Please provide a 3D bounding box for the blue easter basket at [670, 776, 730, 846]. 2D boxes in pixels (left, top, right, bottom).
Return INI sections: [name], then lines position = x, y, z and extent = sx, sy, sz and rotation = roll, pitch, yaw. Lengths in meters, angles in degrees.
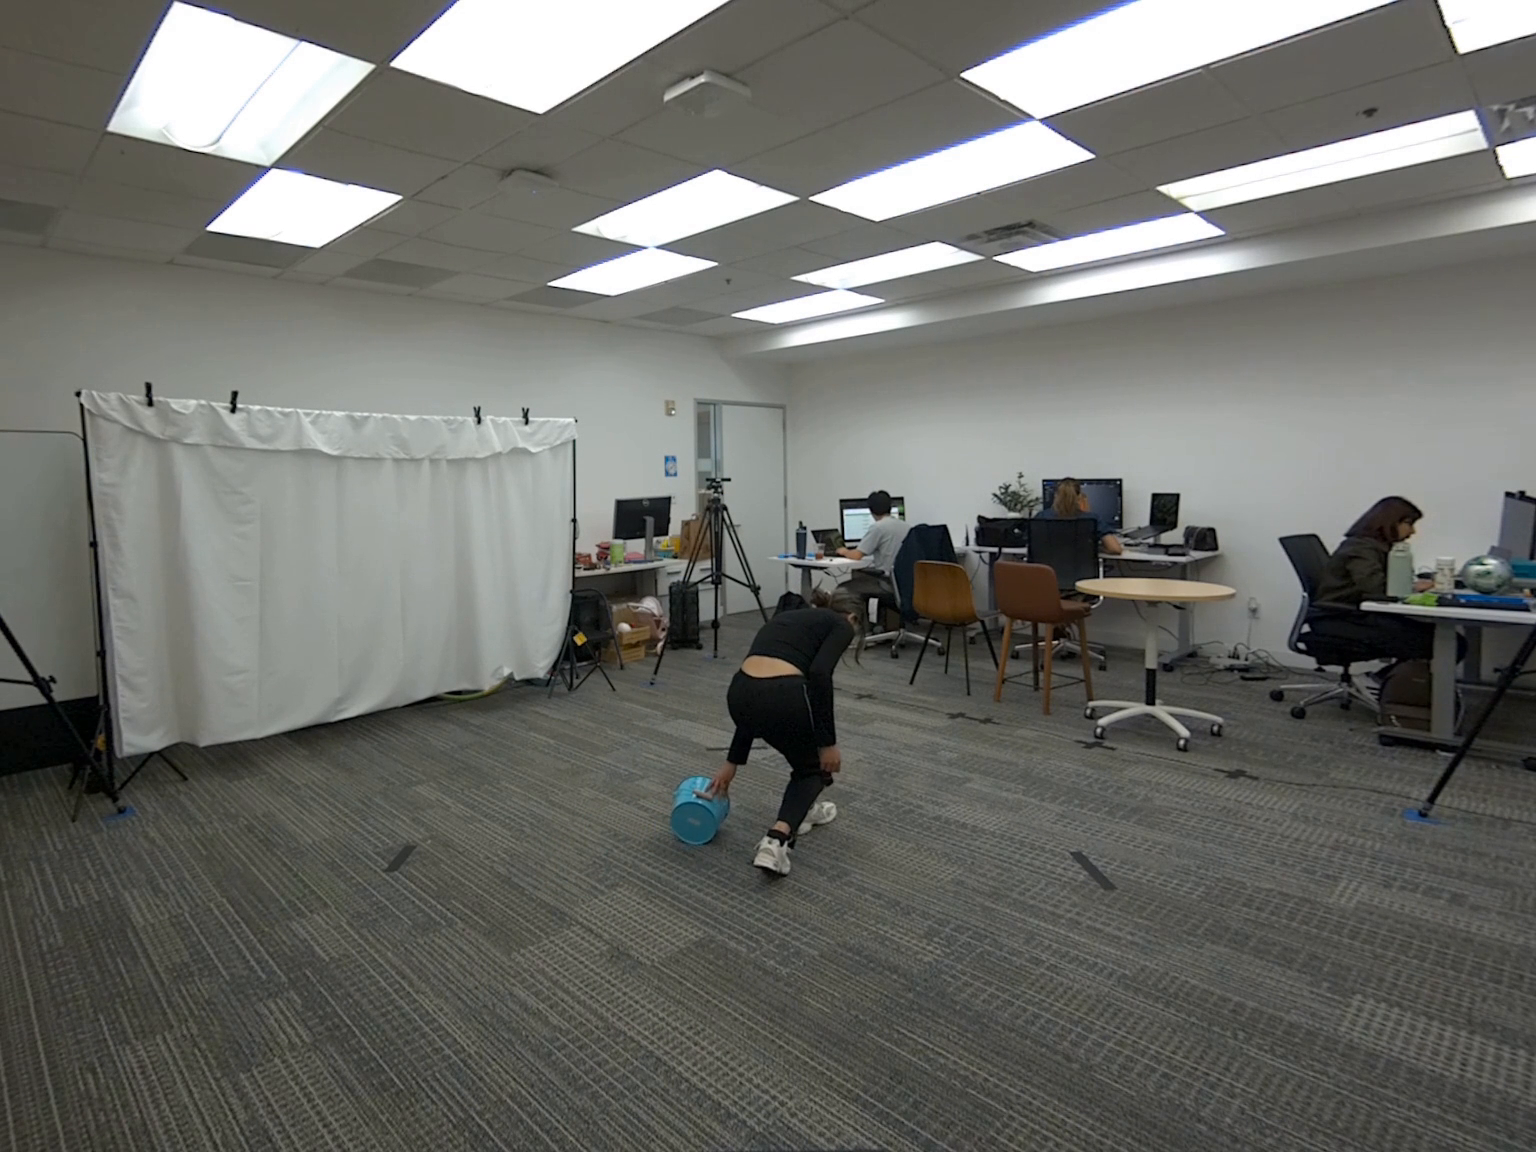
[blue easter basket]
position = -0.271, 0.908, 3.341
extent = 0.246, 0.241, 0.156
rotation = 0, 12, 11
